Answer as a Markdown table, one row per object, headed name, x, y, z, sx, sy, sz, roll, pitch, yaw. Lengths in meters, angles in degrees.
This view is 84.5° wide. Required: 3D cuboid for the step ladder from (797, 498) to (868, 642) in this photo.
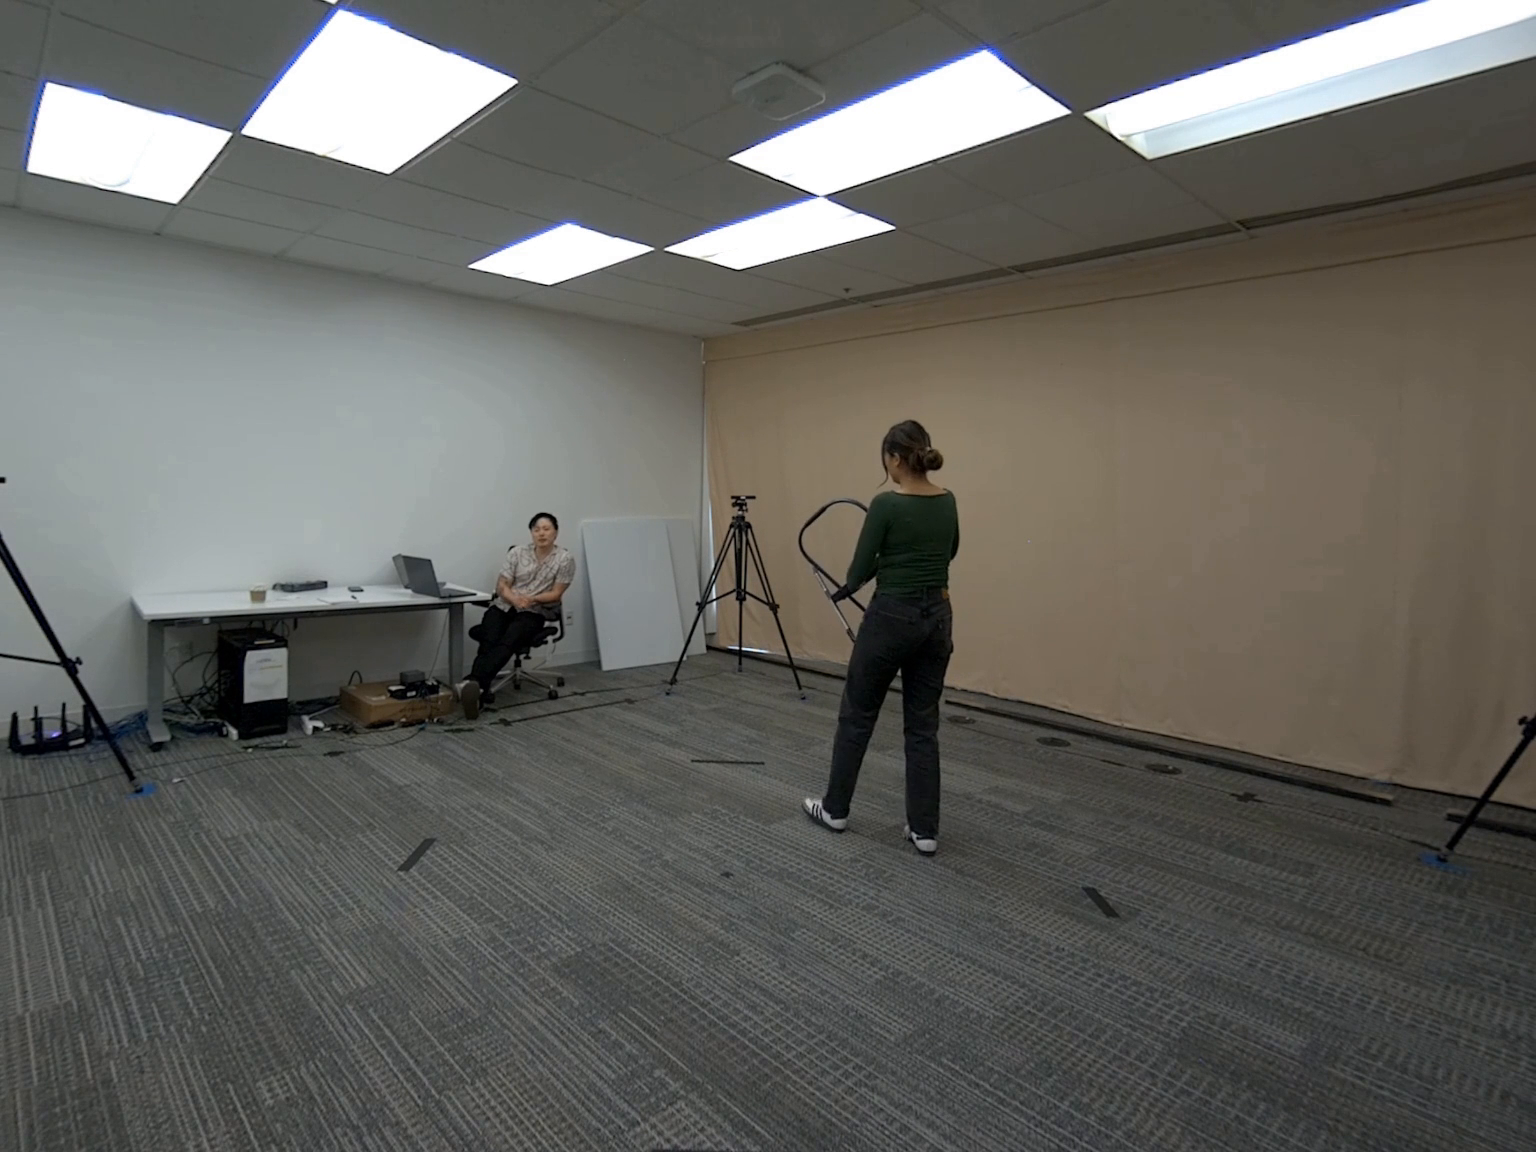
| name | x | y | z | sx | sy | sz | roll | pitch | yaw |
| --- | --- | --- | --- | --- | --- | --- | --- | --- | --- |
| step ladder | 0.431 | -0.056 | 3.898 | 0.431 | 0.614 | 0.344 | -45 | -14 | 30 |
